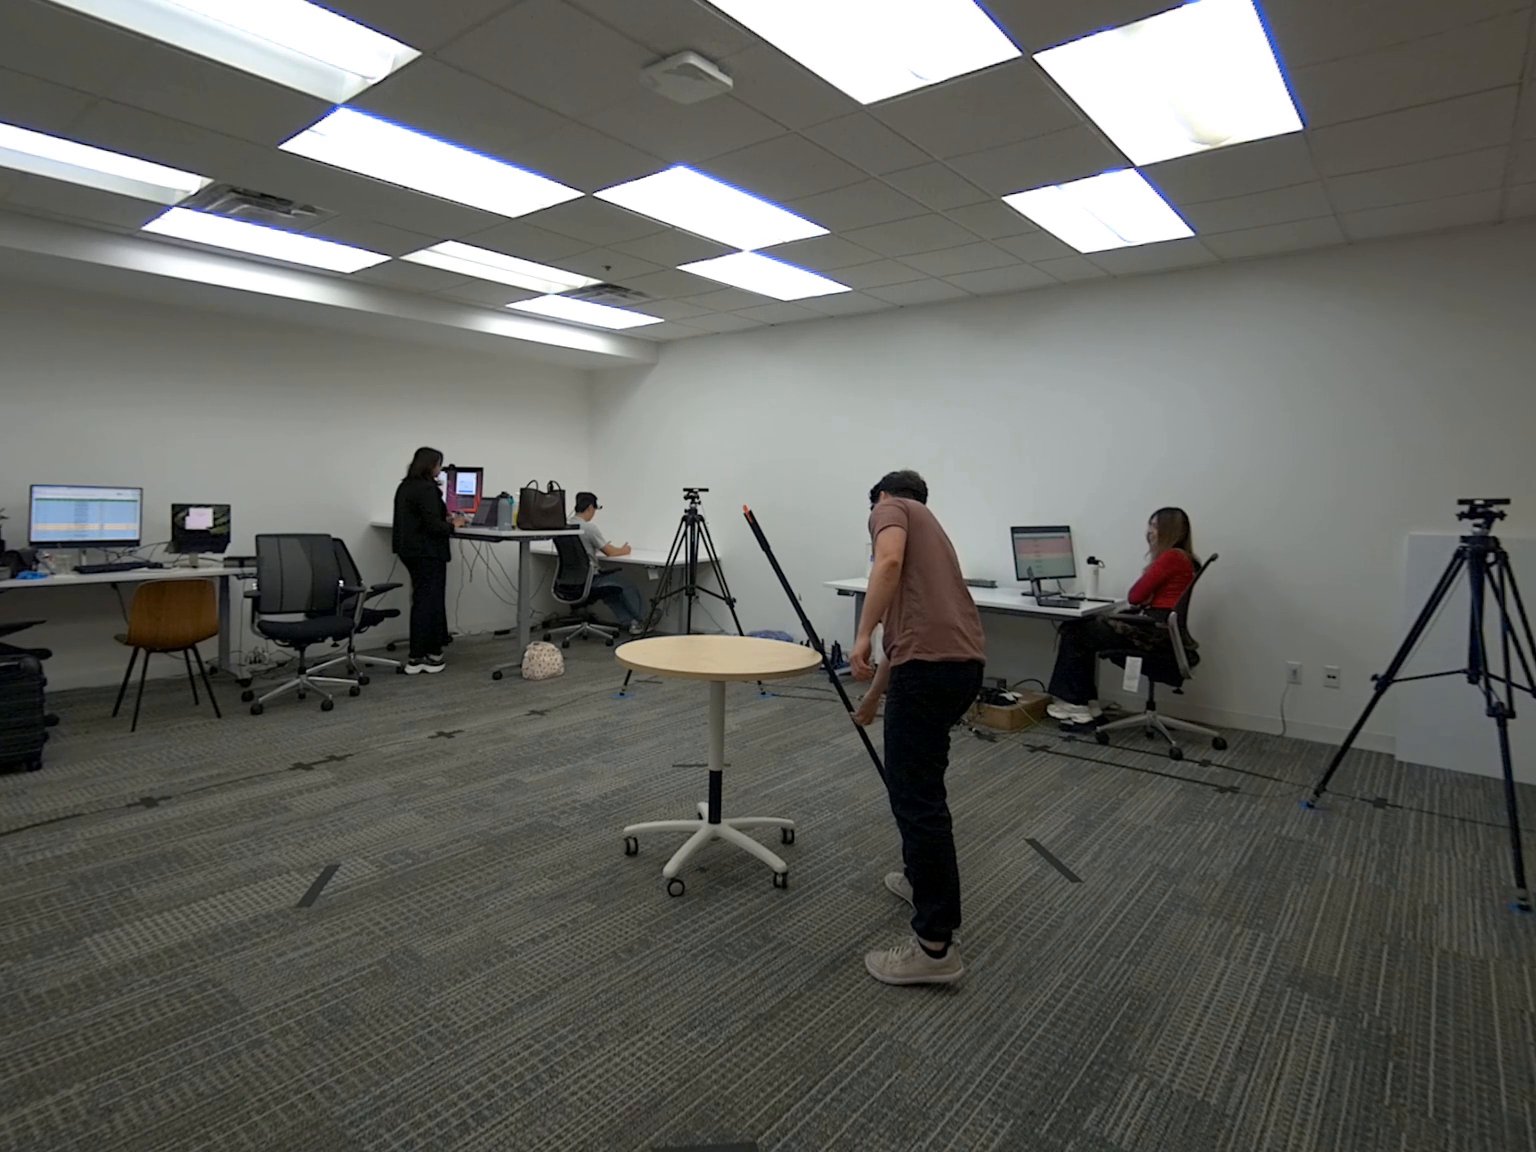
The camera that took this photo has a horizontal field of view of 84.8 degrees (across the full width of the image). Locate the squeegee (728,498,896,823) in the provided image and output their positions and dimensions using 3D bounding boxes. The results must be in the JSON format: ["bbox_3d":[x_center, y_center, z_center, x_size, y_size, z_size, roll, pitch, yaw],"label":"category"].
[{"bbox_3d":[0.245,0.393,3.288,0.053,1.526,0.442,-28,6,-4],"label":"squeegee"}]
